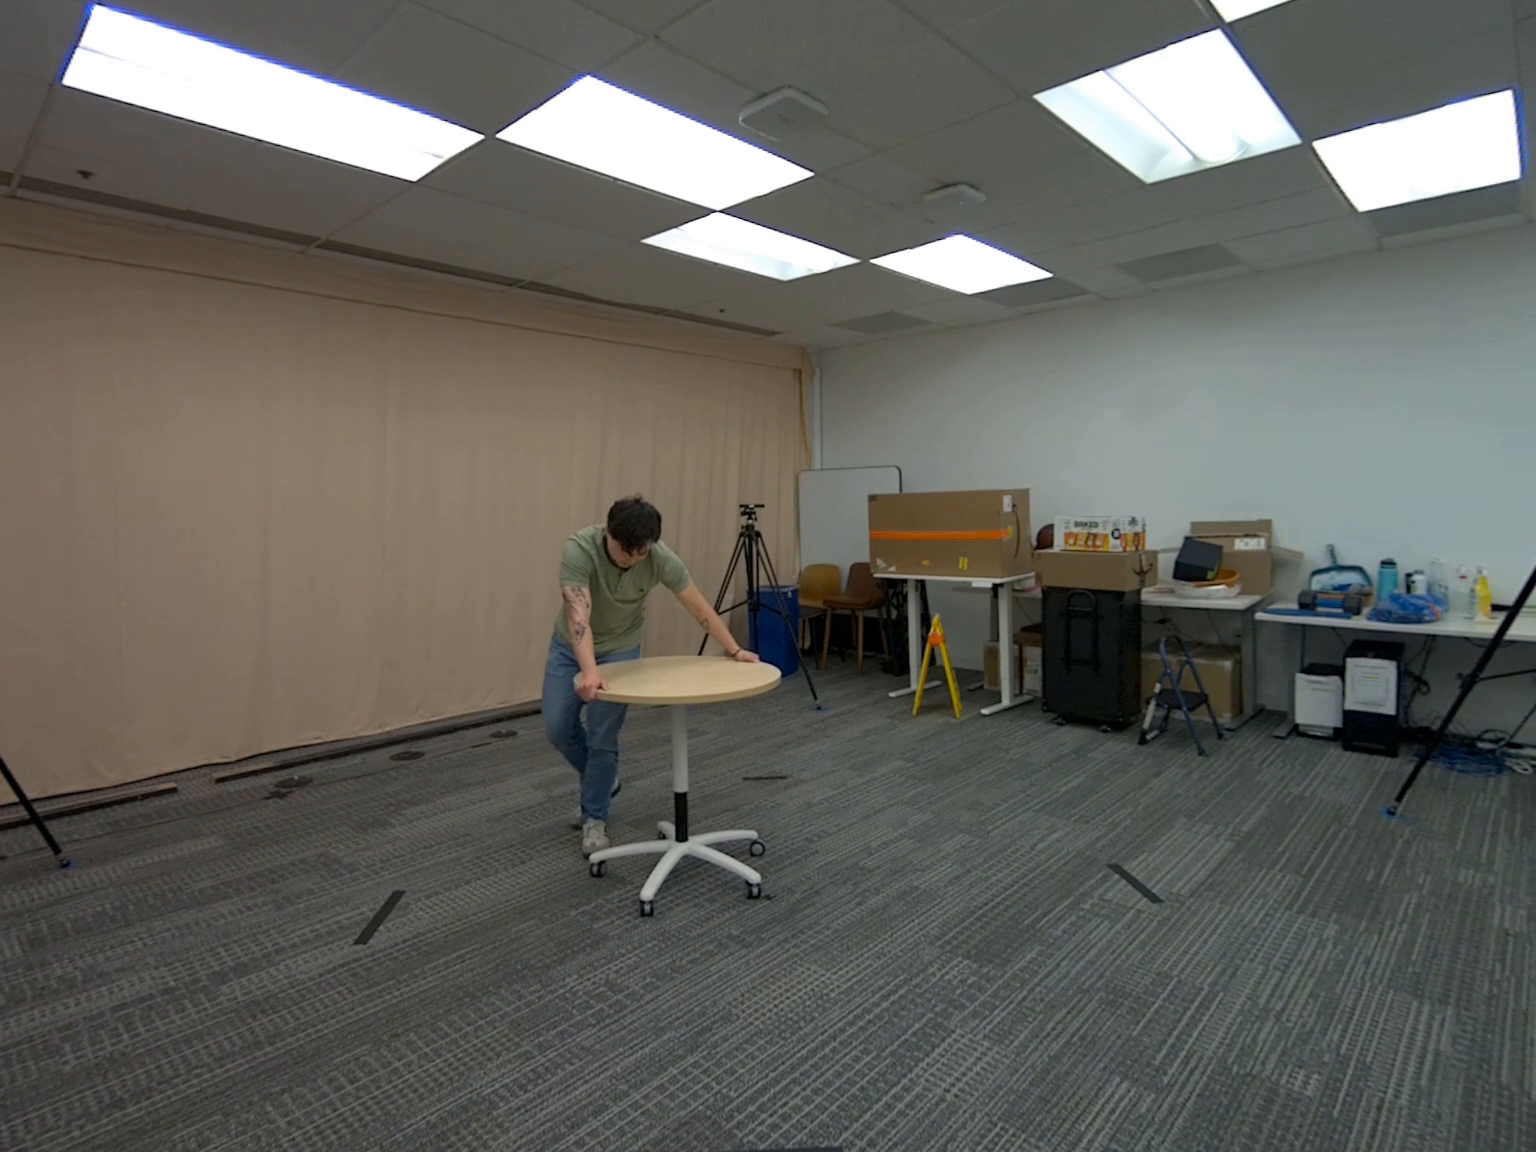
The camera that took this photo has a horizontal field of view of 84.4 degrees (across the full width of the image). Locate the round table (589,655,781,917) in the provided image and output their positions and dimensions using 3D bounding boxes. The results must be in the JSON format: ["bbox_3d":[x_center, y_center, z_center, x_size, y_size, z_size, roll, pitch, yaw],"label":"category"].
[{"bbox_3d":[-0.322,0.749,3.147,0.763,0.792,0.766,-1,3,-2],"label":"round table"}]
